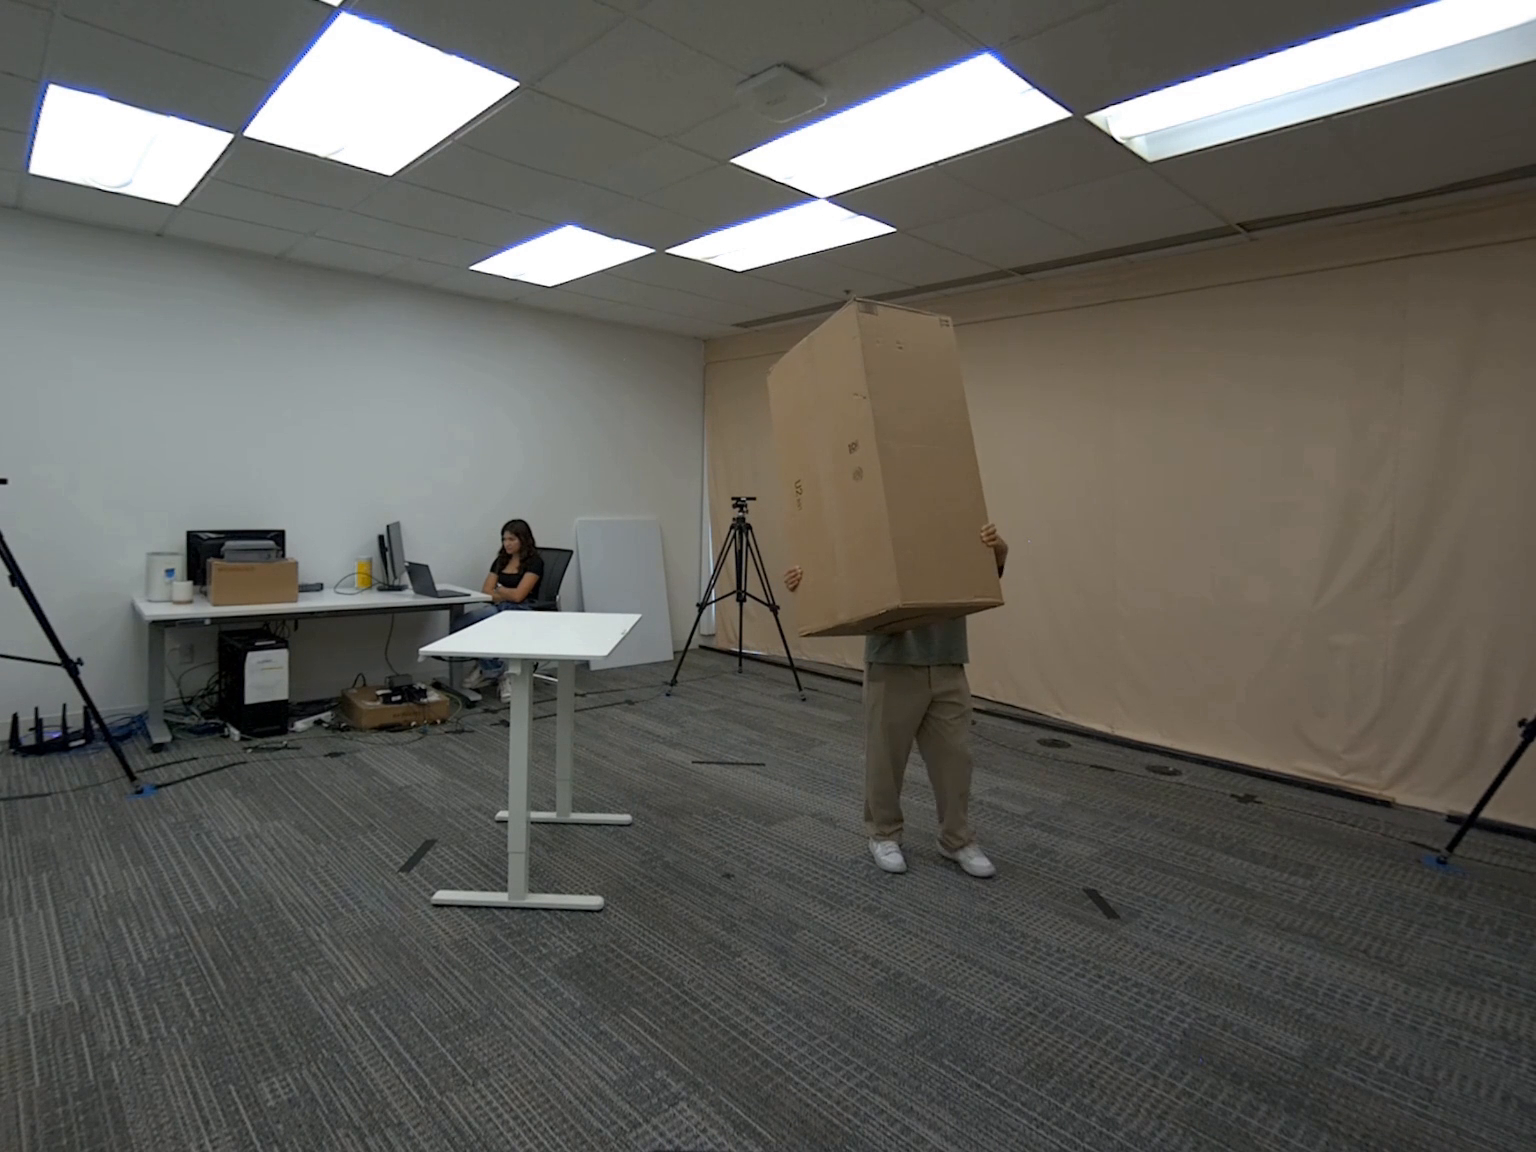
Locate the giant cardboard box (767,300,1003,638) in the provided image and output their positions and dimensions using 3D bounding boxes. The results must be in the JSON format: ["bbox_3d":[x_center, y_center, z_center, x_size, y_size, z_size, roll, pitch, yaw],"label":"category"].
[{"bbox_3d":[0.372,-0.334,2.941,0.417,1.037,0.583,2,-15,-30],"label":"giant cardboard box"}]
